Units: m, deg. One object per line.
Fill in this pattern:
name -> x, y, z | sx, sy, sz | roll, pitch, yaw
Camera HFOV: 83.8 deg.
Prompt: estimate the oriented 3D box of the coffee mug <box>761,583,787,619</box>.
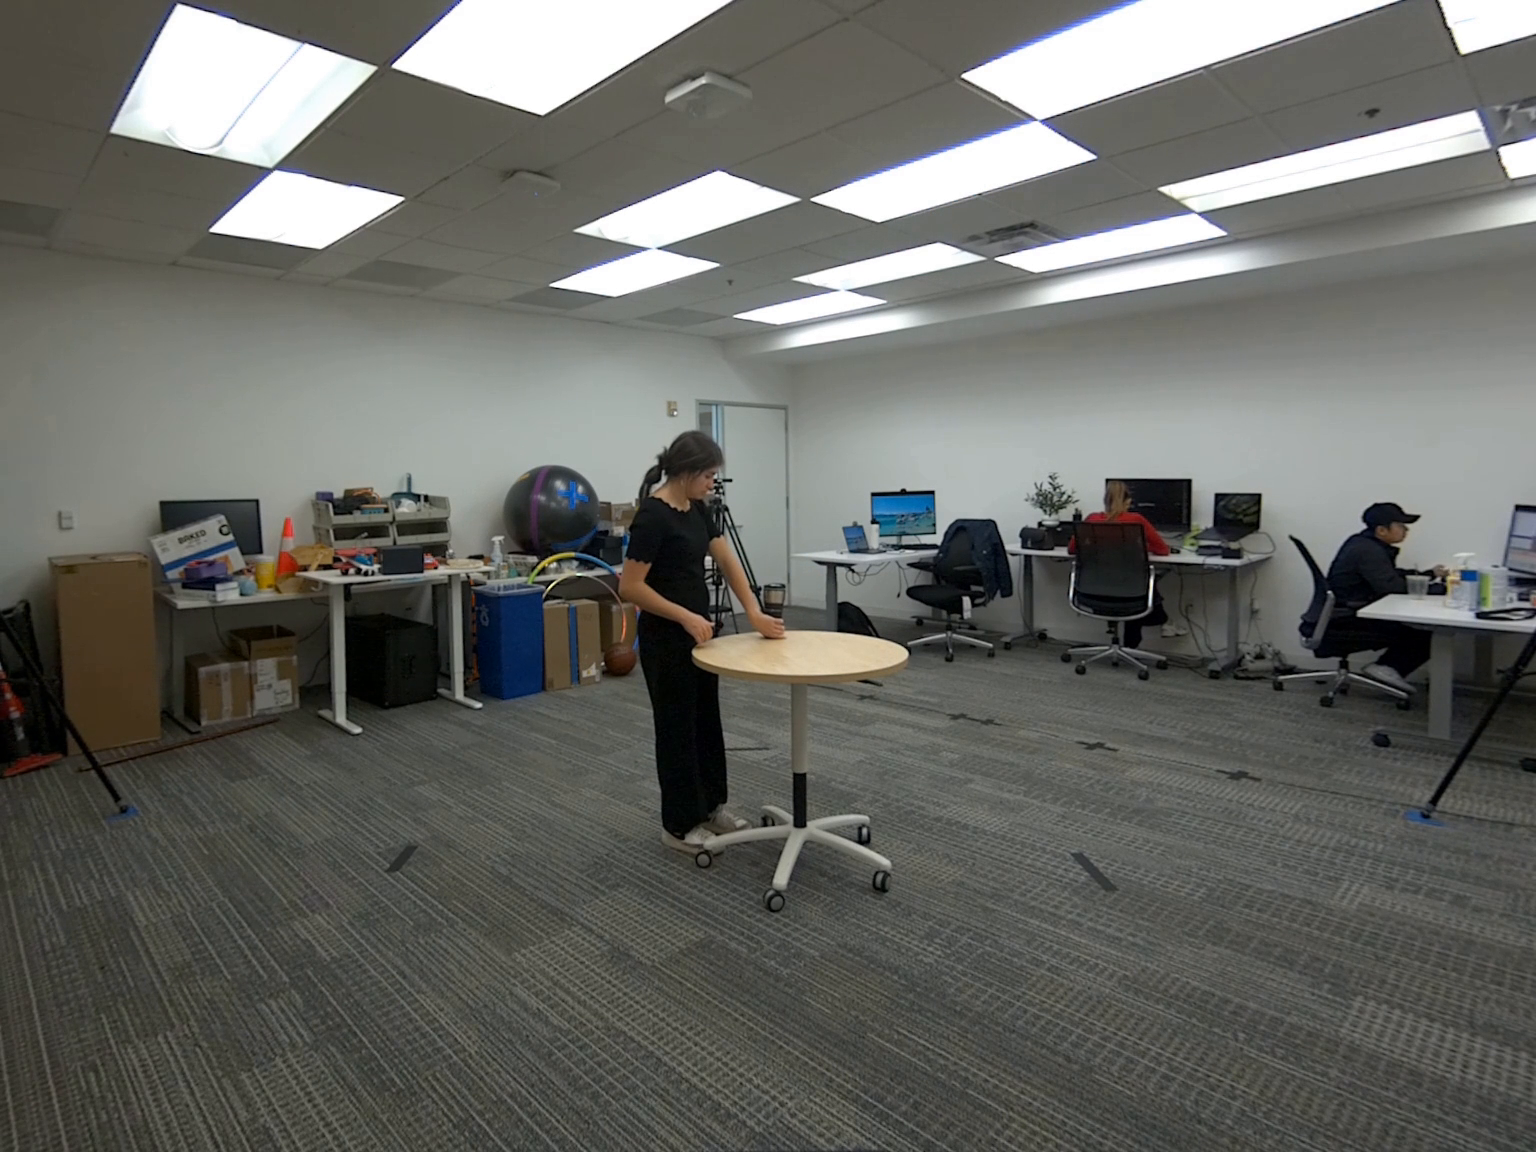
coffee mug -> 0.032, 0.134, 3.319 | 0.119, 0.203, 0.090 | -6, 0, -45
